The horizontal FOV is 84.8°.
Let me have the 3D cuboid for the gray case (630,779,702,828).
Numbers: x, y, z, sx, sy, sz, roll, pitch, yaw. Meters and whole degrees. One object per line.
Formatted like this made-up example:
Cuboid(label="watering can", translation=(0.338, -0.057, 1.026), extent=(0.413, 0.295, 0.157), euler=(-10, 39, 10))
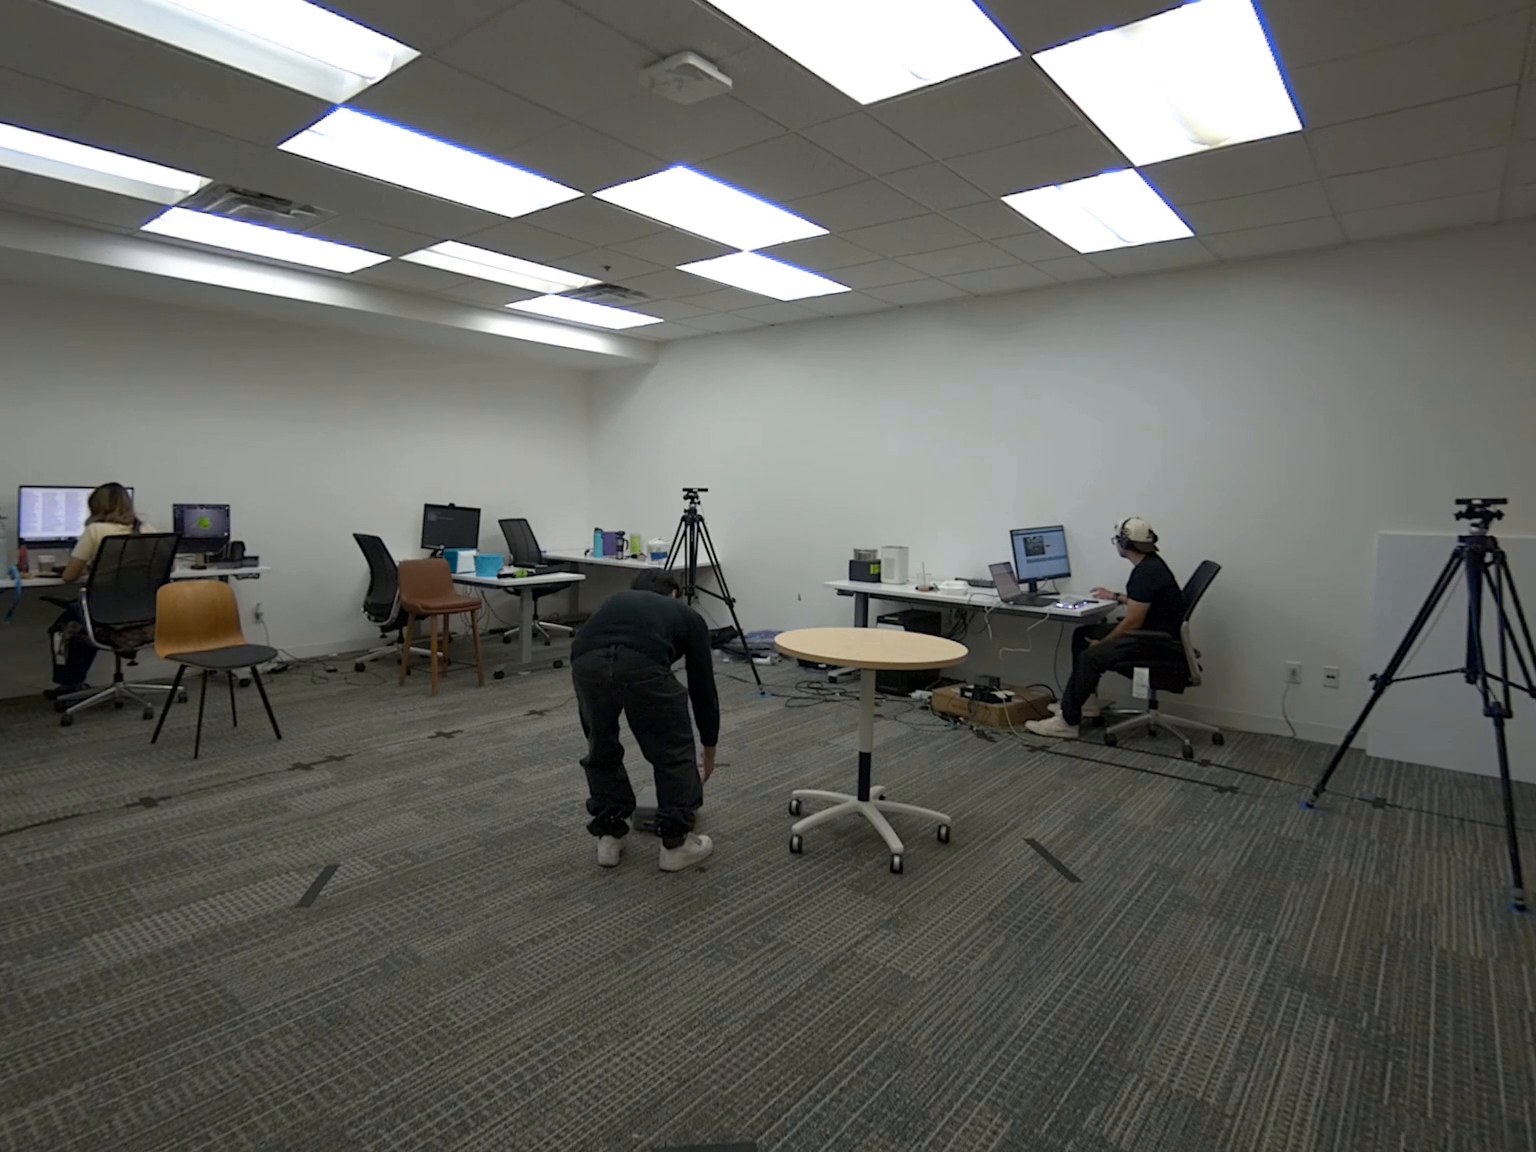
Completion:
Cuboid(label="gray case", translation=(-0.430, 0.957, 3.545), extent=(0.259, 0.104, 0.259), euler=(1, 5, 7))
